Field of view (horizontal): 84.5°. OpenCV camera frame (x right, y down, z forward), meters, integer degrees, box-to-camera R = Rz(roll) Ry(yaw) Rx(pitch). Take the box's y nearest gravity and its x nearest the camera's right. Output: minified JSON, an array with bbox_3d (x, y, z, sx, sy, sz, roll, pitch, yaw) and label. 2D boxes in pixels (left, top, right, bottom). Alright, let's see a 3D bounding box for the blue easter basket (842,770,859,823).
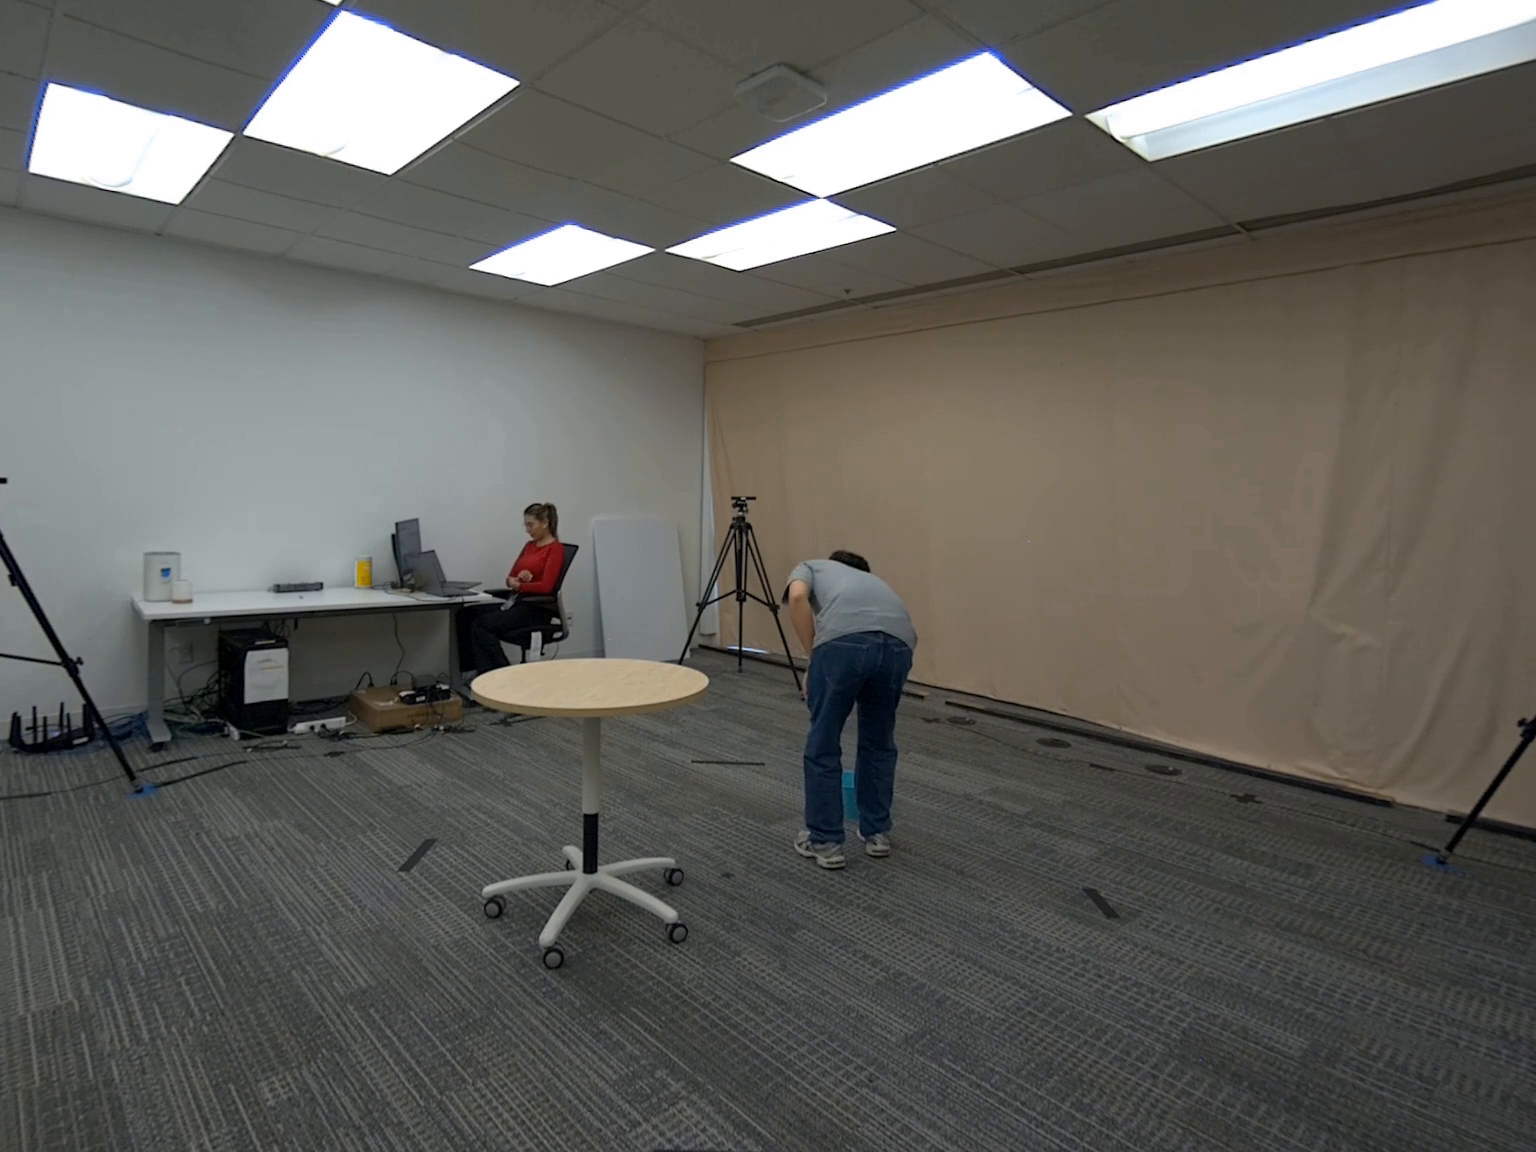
[{"bbox_3d":[0.376,0.986,3.779,0.243,0.155,0.244,1,5,-1],"label":"blue easter basket"}]
